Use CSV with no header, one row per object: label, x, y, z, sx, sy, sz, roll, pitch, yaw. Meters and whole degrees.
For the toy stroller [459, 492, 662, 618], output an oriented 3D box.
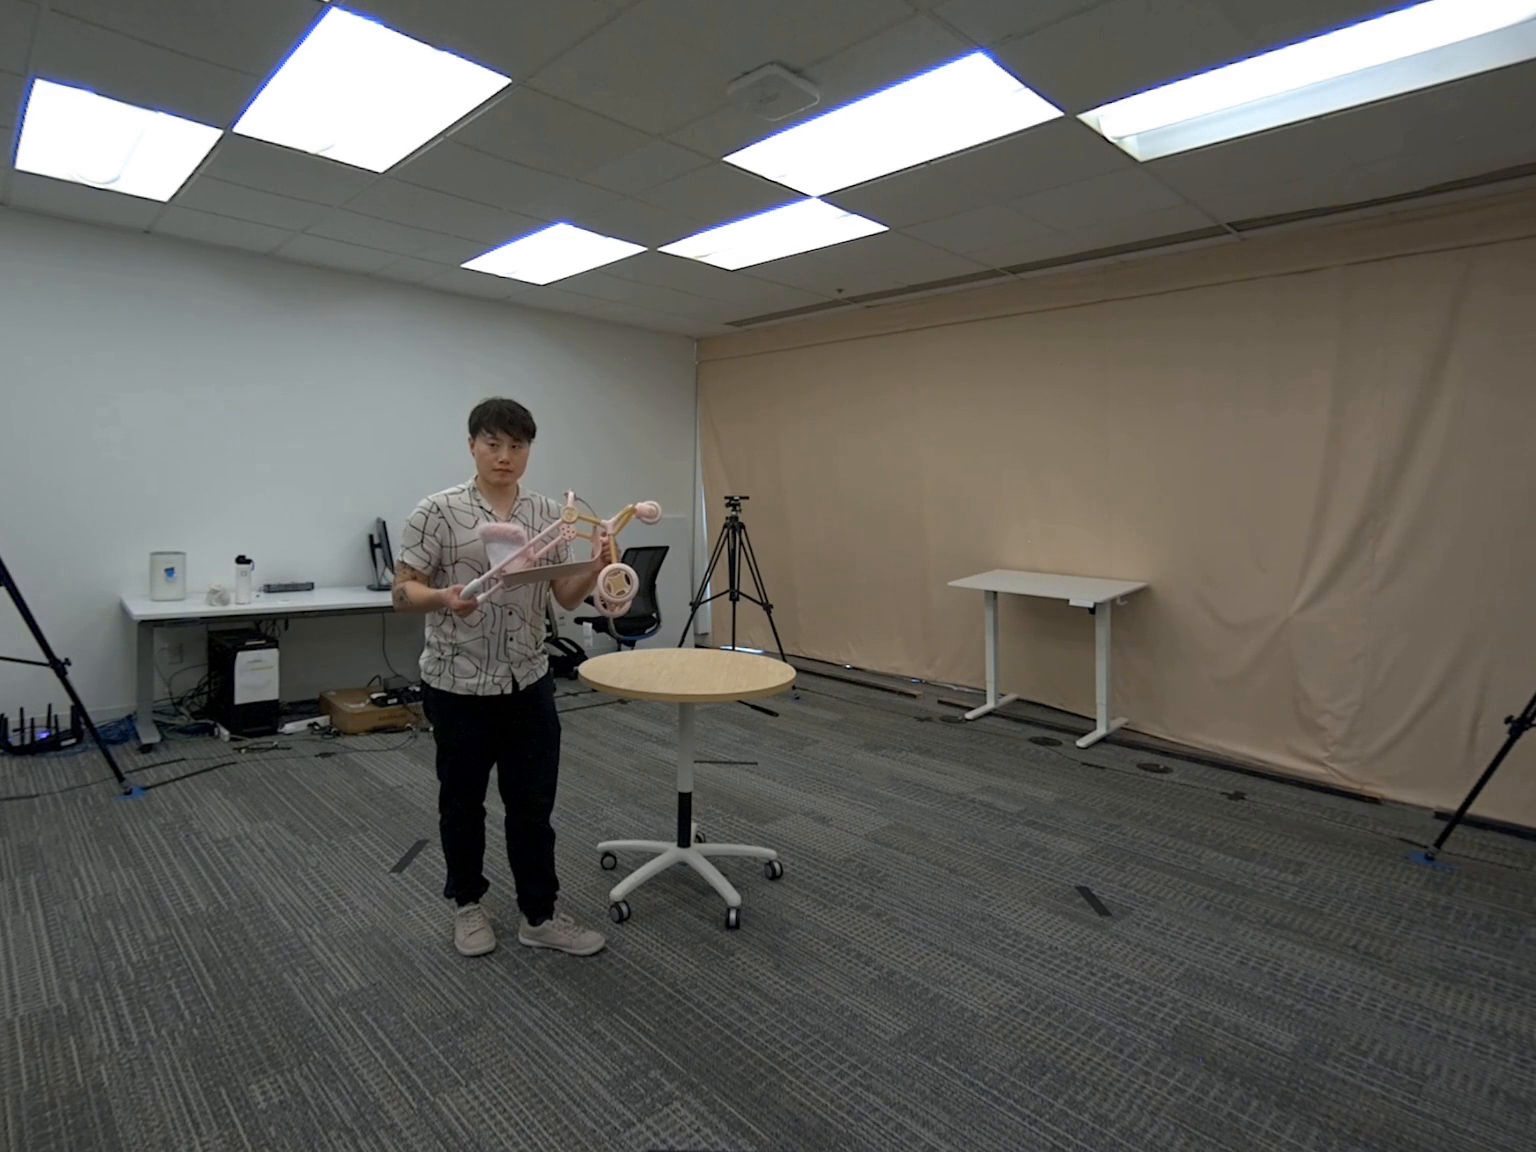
toy stroller,-0.577,-0.075,2.355,0.531,0.343,0.282,8,-7,-8
